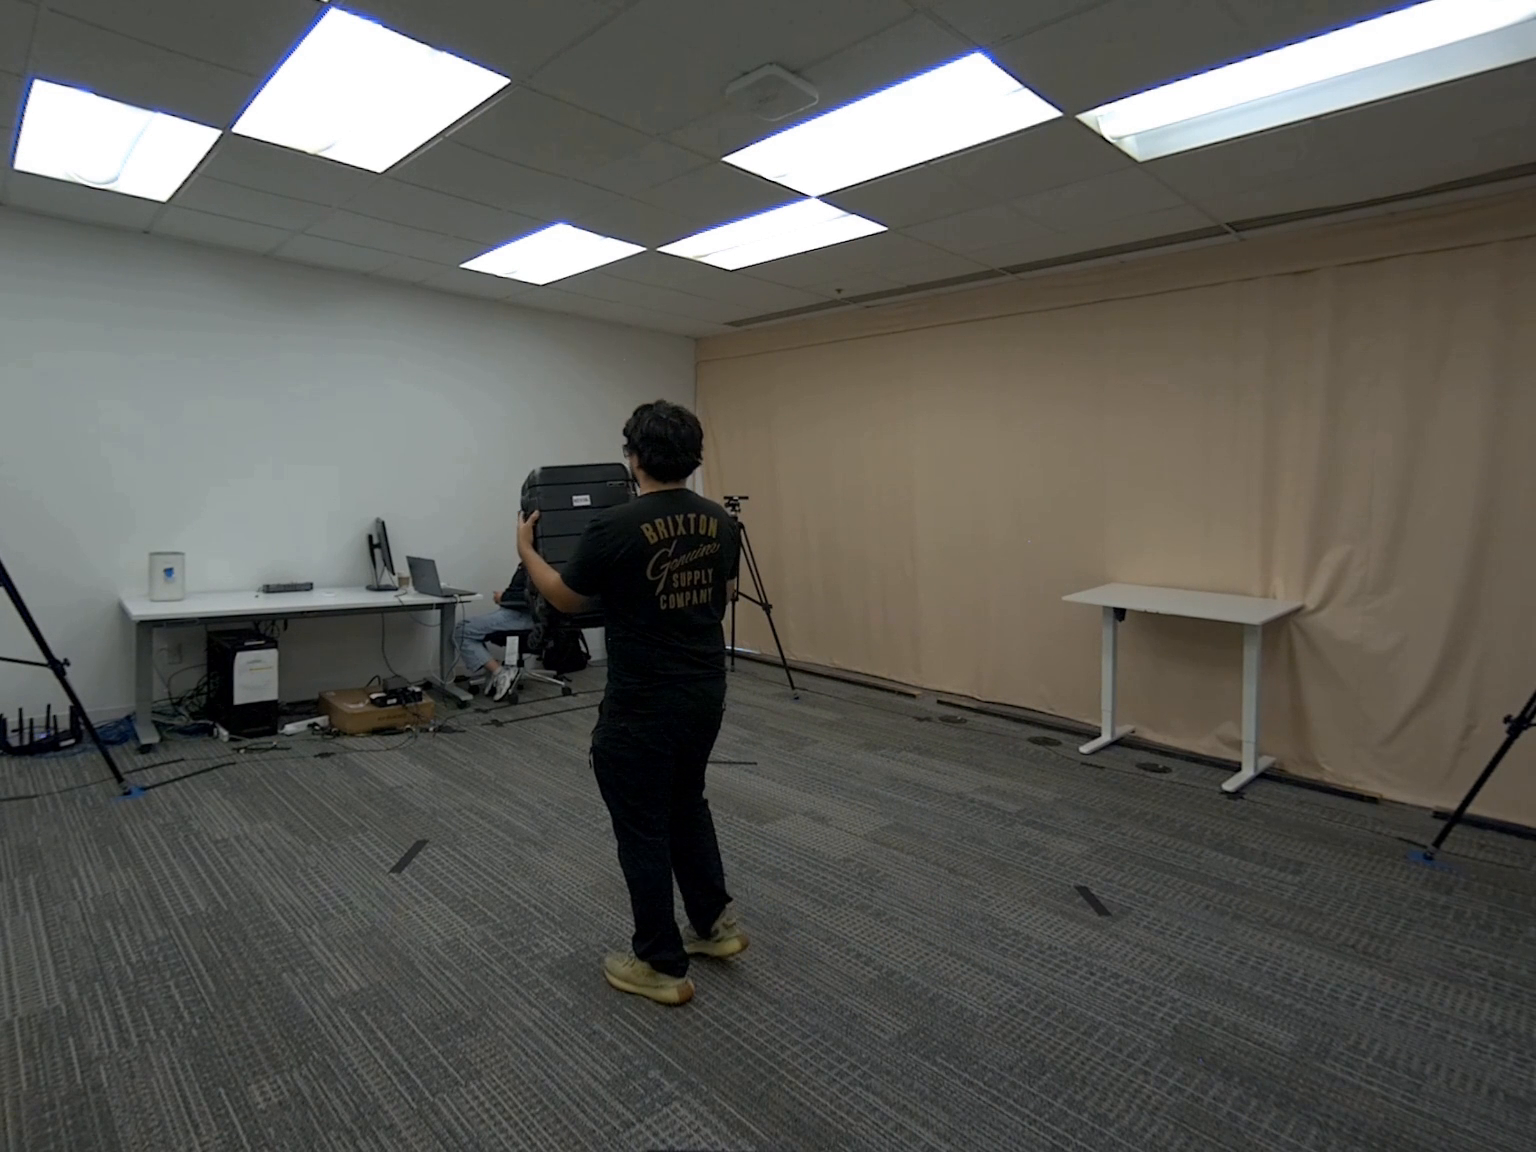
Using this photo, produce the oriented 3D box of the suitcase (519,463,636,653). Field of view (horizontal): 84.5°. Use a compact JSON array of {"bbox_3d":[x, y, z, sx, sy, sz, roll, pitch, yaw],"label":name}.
[{"bbox_3d":[-0.575,-0.081,2.635,0.371,0.555,0.248,-3,-13,-16],"label":"suitcase"}]
